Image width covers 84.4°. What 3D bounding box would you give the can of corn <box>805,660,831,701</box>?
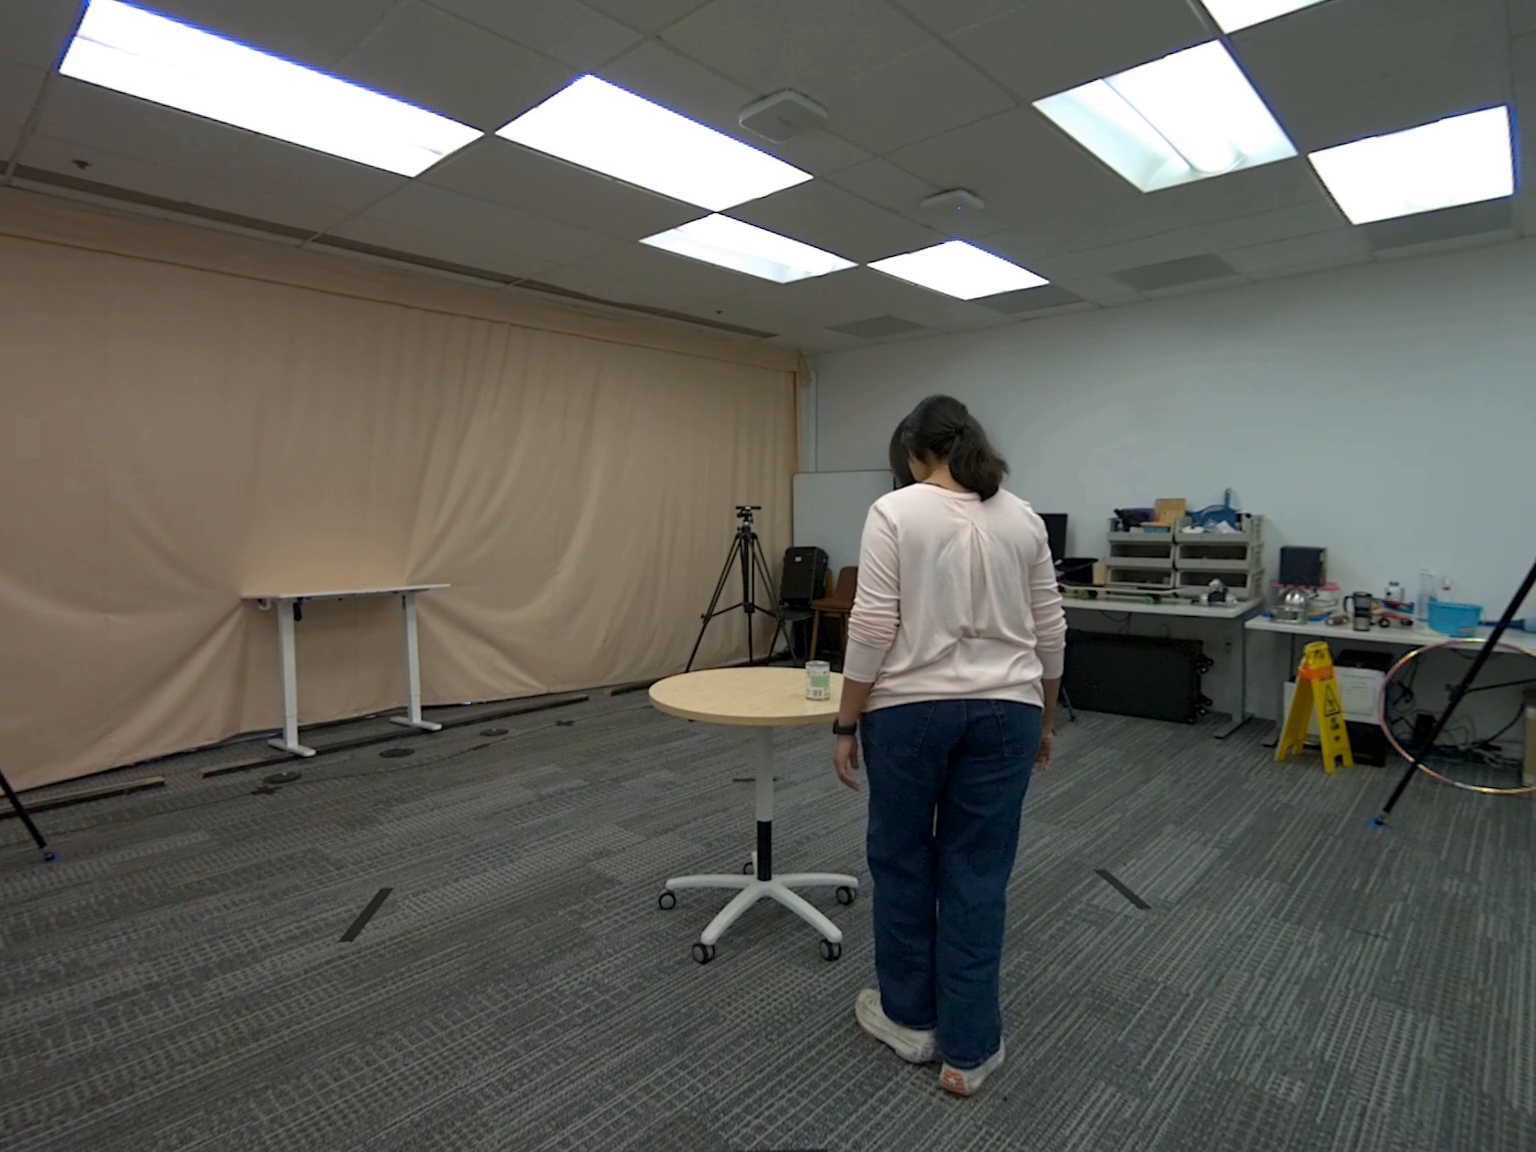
[{"bbox_3d":[0.166,0.332,2.641,0.074,0.111,0.074,-1,3,-2],"label":"can of corn"}]
